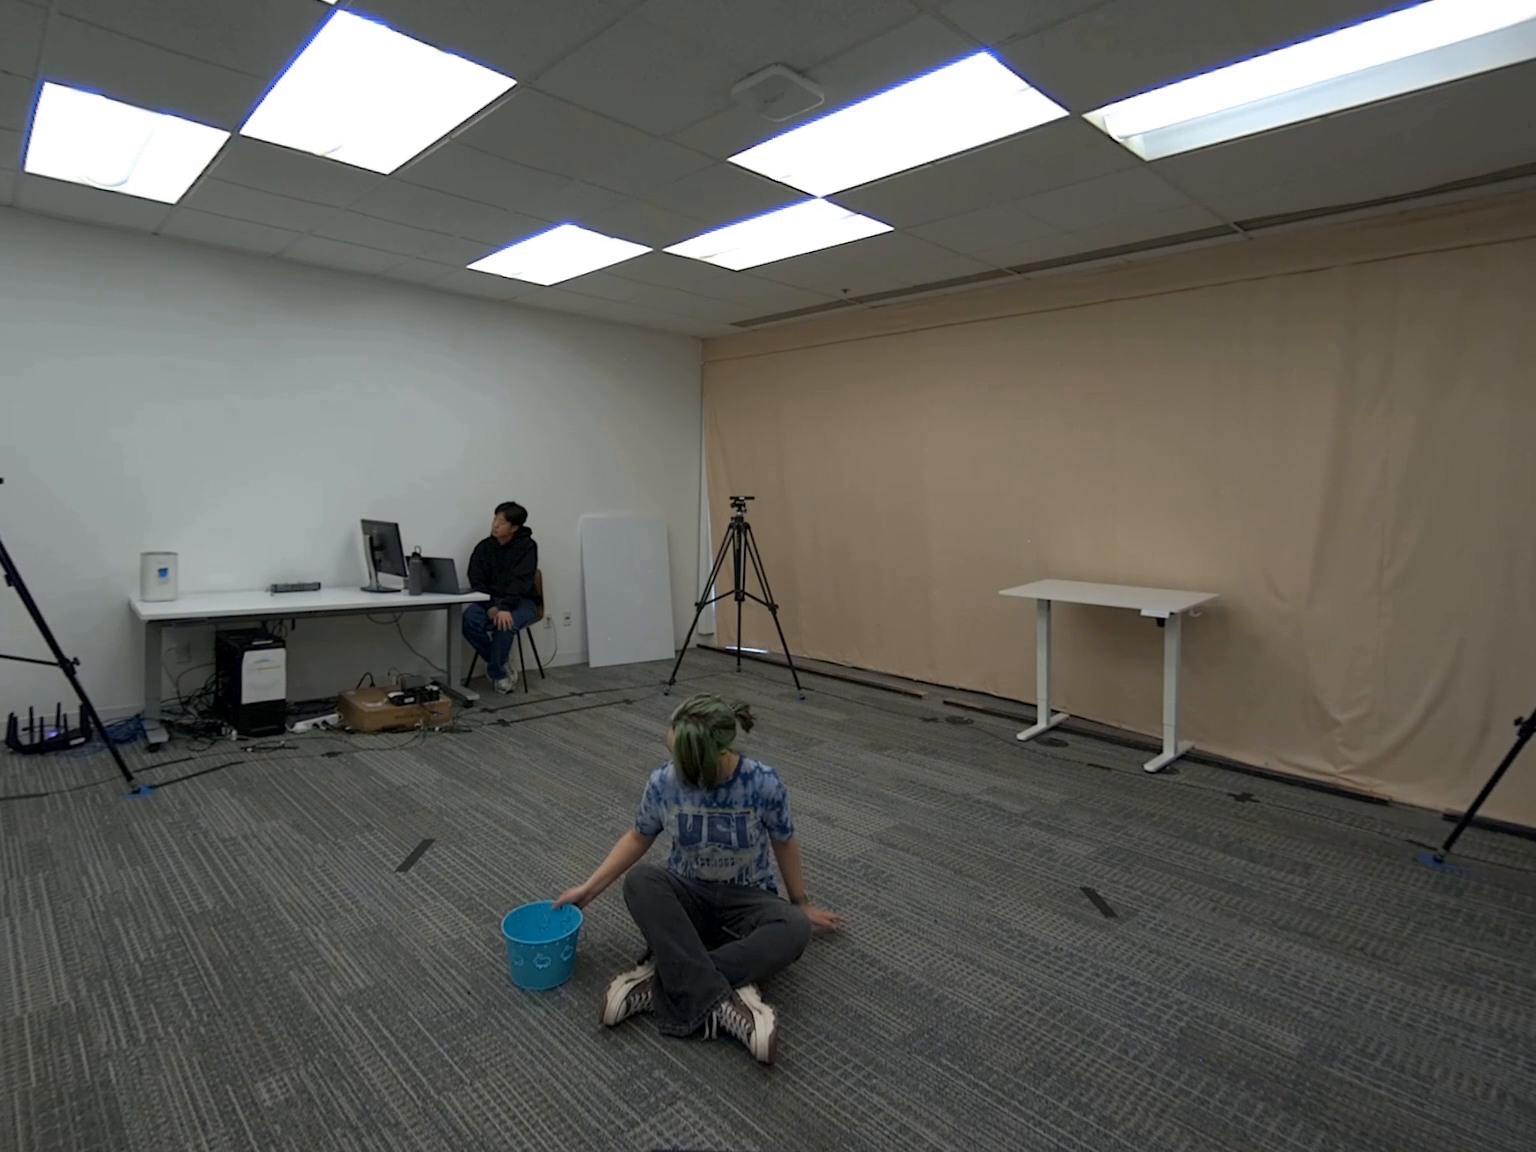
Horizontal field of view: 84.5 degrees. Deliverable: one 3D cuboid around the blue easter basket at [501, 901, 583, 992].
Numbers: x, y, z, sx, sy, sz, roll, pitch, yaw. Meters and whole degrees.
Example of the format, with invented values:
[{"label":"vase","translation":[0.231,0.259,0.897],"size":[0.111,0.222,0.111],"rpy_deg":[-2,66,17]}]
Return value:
[{"label":"blue easter basket","translation":[-0.656,1.067,2.432],"size":[0.243,0.155,0.245],"rpy_deg":[1,6,-1]}]
